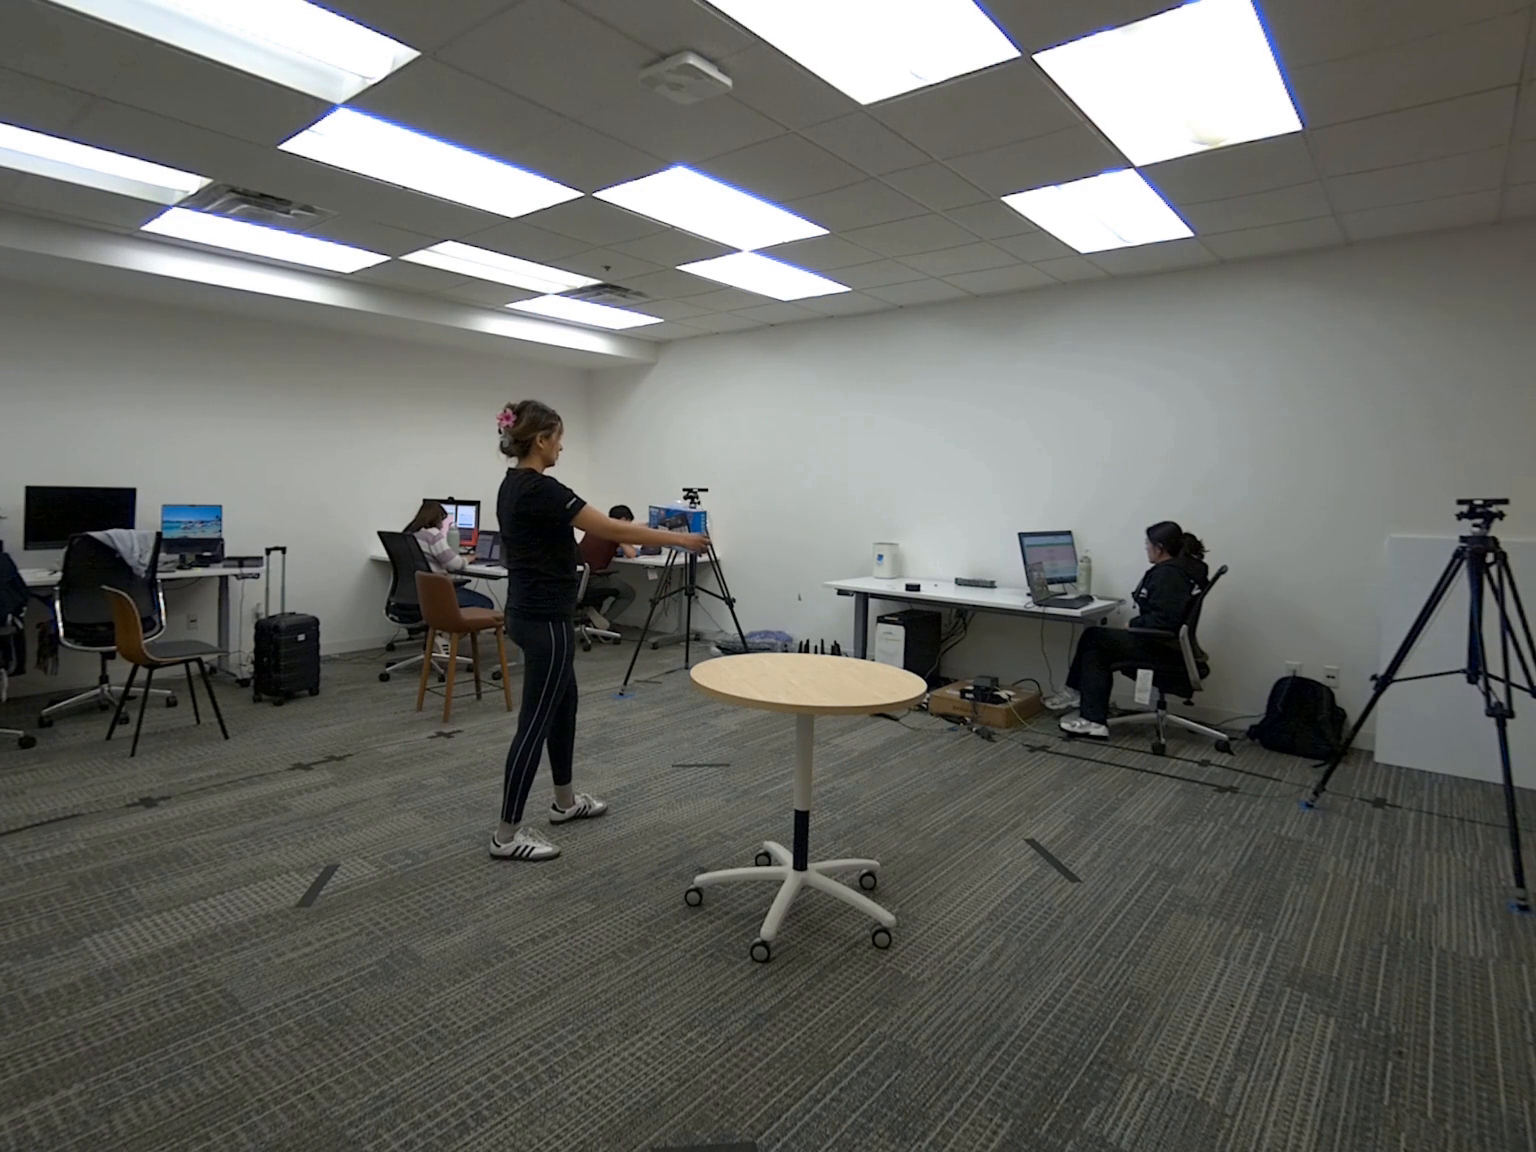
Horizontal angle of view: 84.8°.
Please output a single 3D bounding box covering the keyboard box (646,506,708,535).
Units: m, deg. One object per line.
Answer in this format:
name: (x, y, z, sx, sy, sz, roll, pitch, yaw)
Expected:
keyboard box: (-0.393, -0.198, 3.544, 0.057, 0.175, 0.451, -3, 8, -31)
